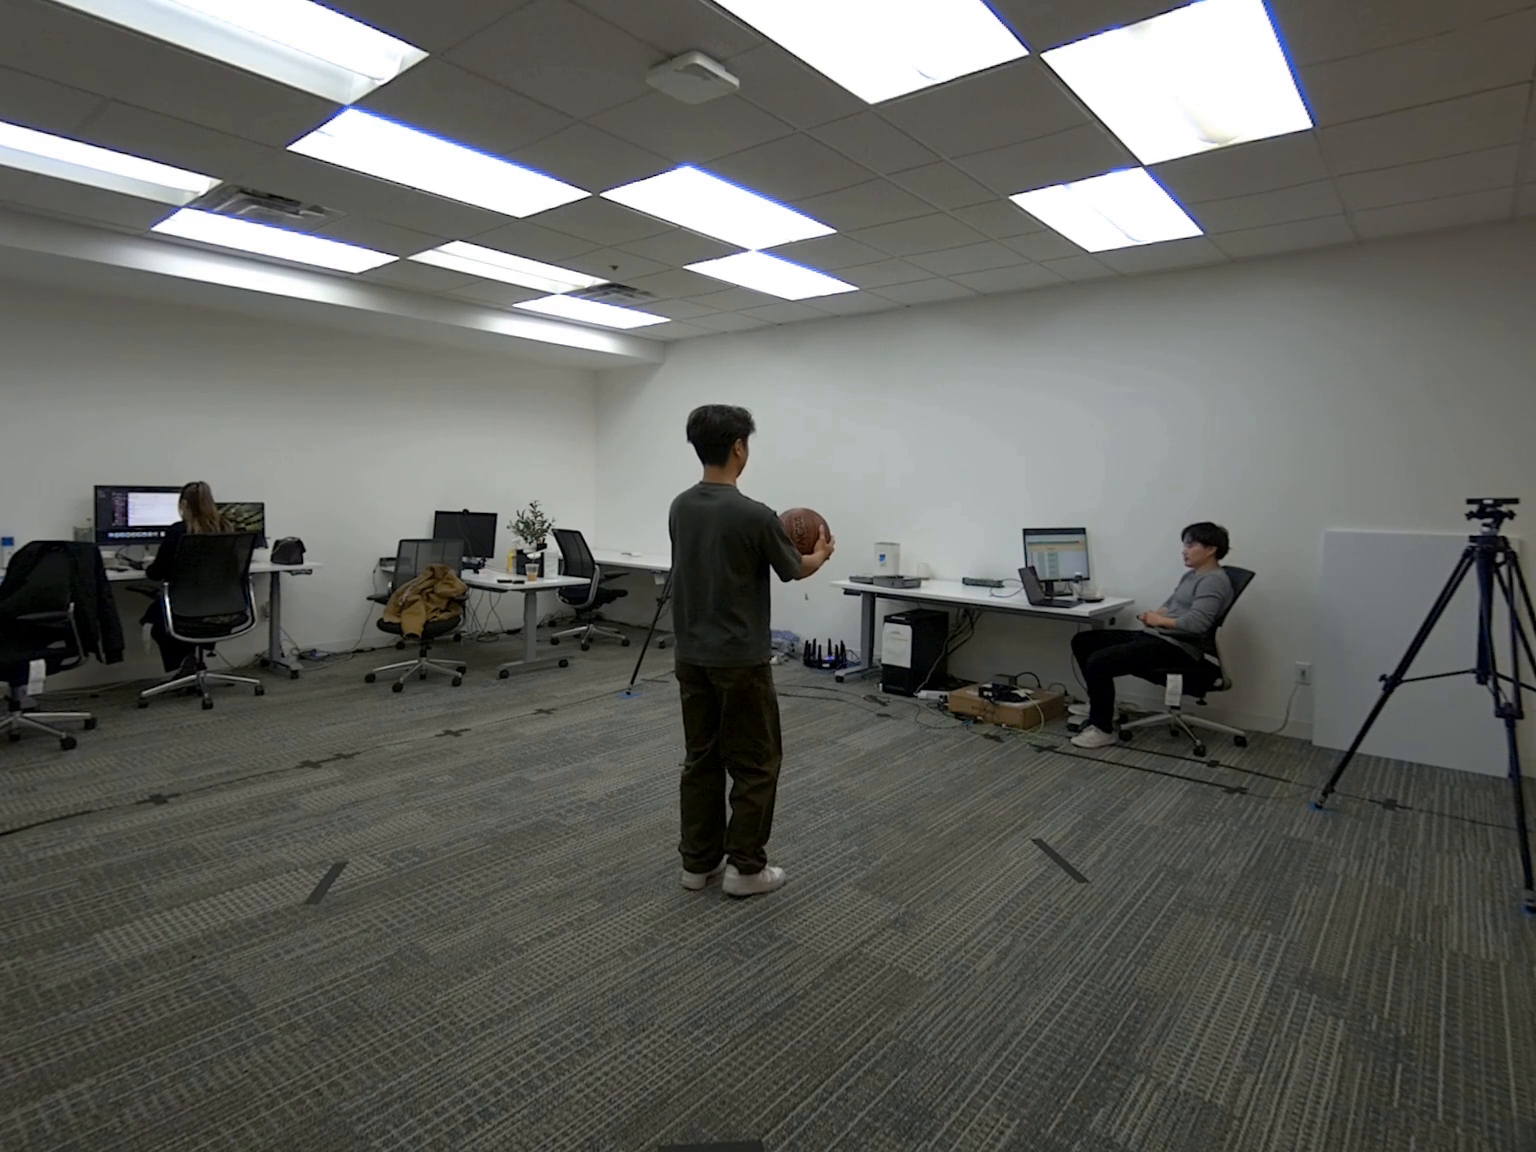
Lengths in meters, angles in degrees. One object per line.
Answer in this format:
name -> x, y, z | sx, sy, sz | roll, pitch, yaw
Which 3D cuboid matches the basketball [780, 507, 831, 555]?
basketball -> 0.112, -0.150, 3.293 | 0.235, 0.235, 0.237 | 1, 4, -2
